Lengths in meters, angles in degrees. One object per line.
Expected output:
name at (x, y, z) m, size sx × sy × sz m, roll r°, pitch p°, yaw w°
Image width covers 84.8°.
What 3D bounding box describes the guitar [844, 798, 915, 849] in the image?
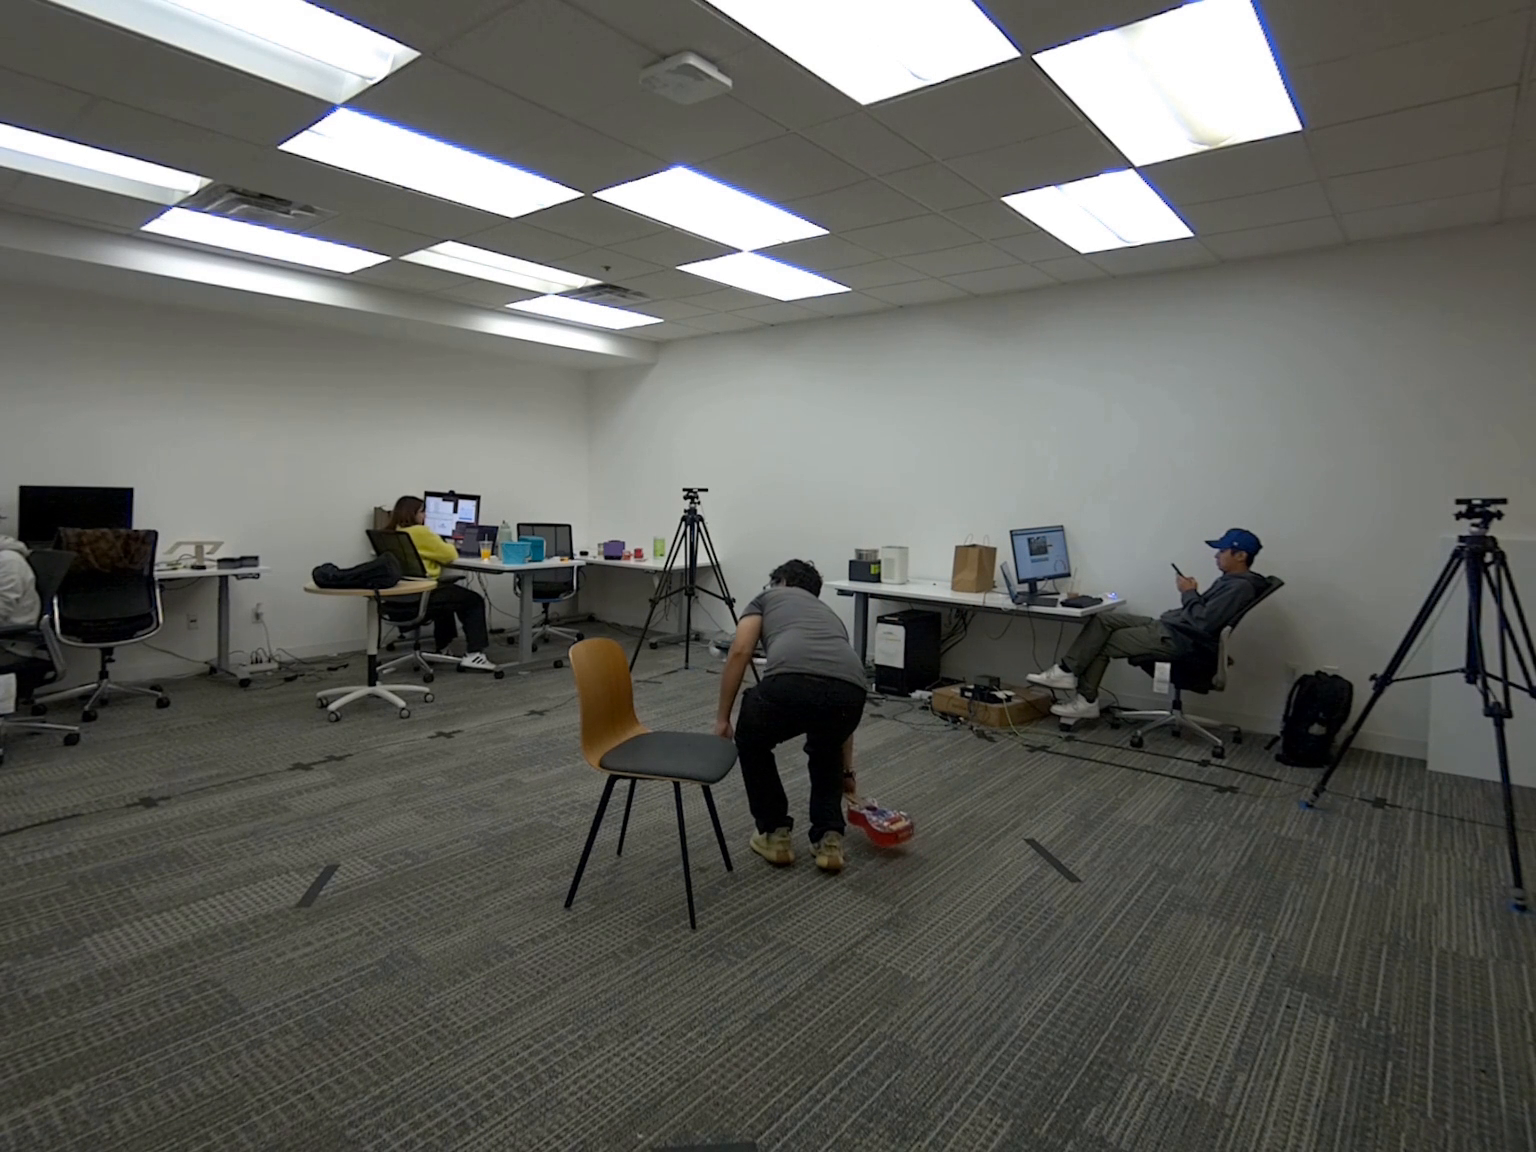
guitar at (0.383, 0.925, 3.443) m, size 0.188 × 0.070 × 0.515 m, roll -5°, pitch 15°, yaw -28°
